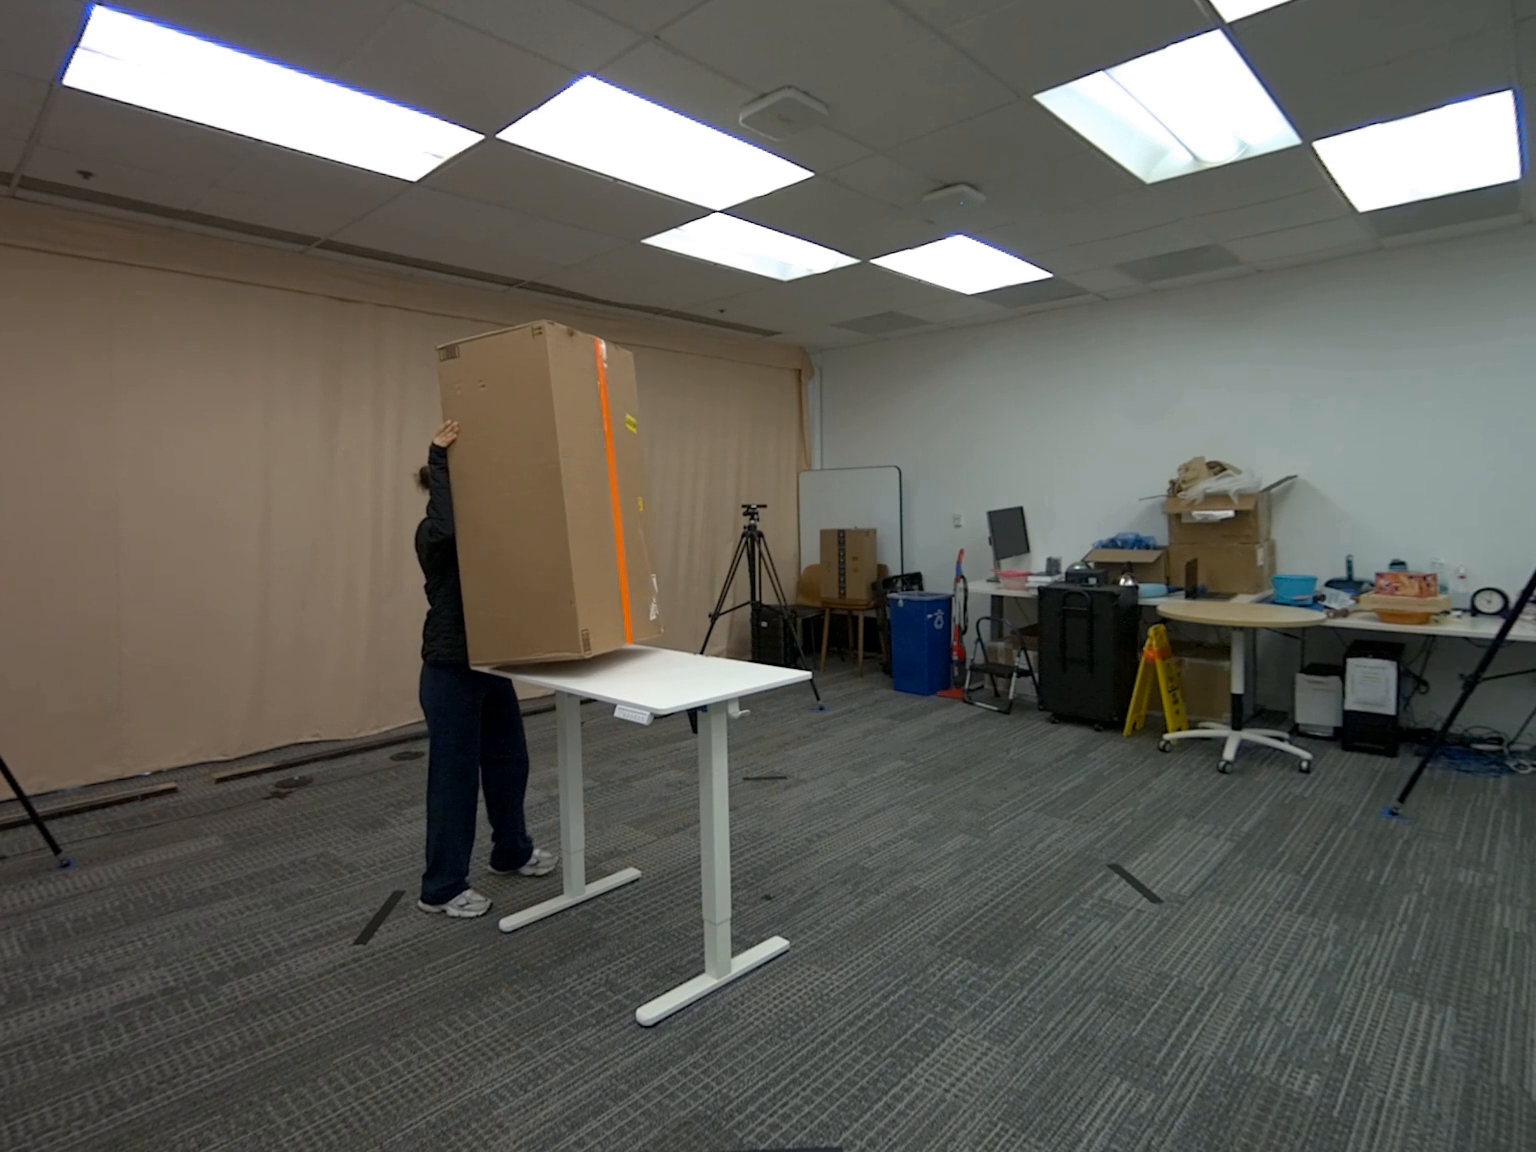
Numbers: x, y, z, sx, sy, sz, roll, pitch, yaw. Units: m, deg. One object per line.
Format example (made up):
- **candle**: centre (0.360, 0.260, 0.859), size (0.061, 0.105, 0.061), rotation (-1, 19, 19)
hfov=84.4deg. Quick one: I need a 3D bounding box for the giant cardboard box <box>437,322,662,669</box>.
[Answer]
- **giant cardboard box**: centre (-0.698, -0.255, 2.848), size (0.456, 1.027, 0.572), rotation (-7, 0, 21)
